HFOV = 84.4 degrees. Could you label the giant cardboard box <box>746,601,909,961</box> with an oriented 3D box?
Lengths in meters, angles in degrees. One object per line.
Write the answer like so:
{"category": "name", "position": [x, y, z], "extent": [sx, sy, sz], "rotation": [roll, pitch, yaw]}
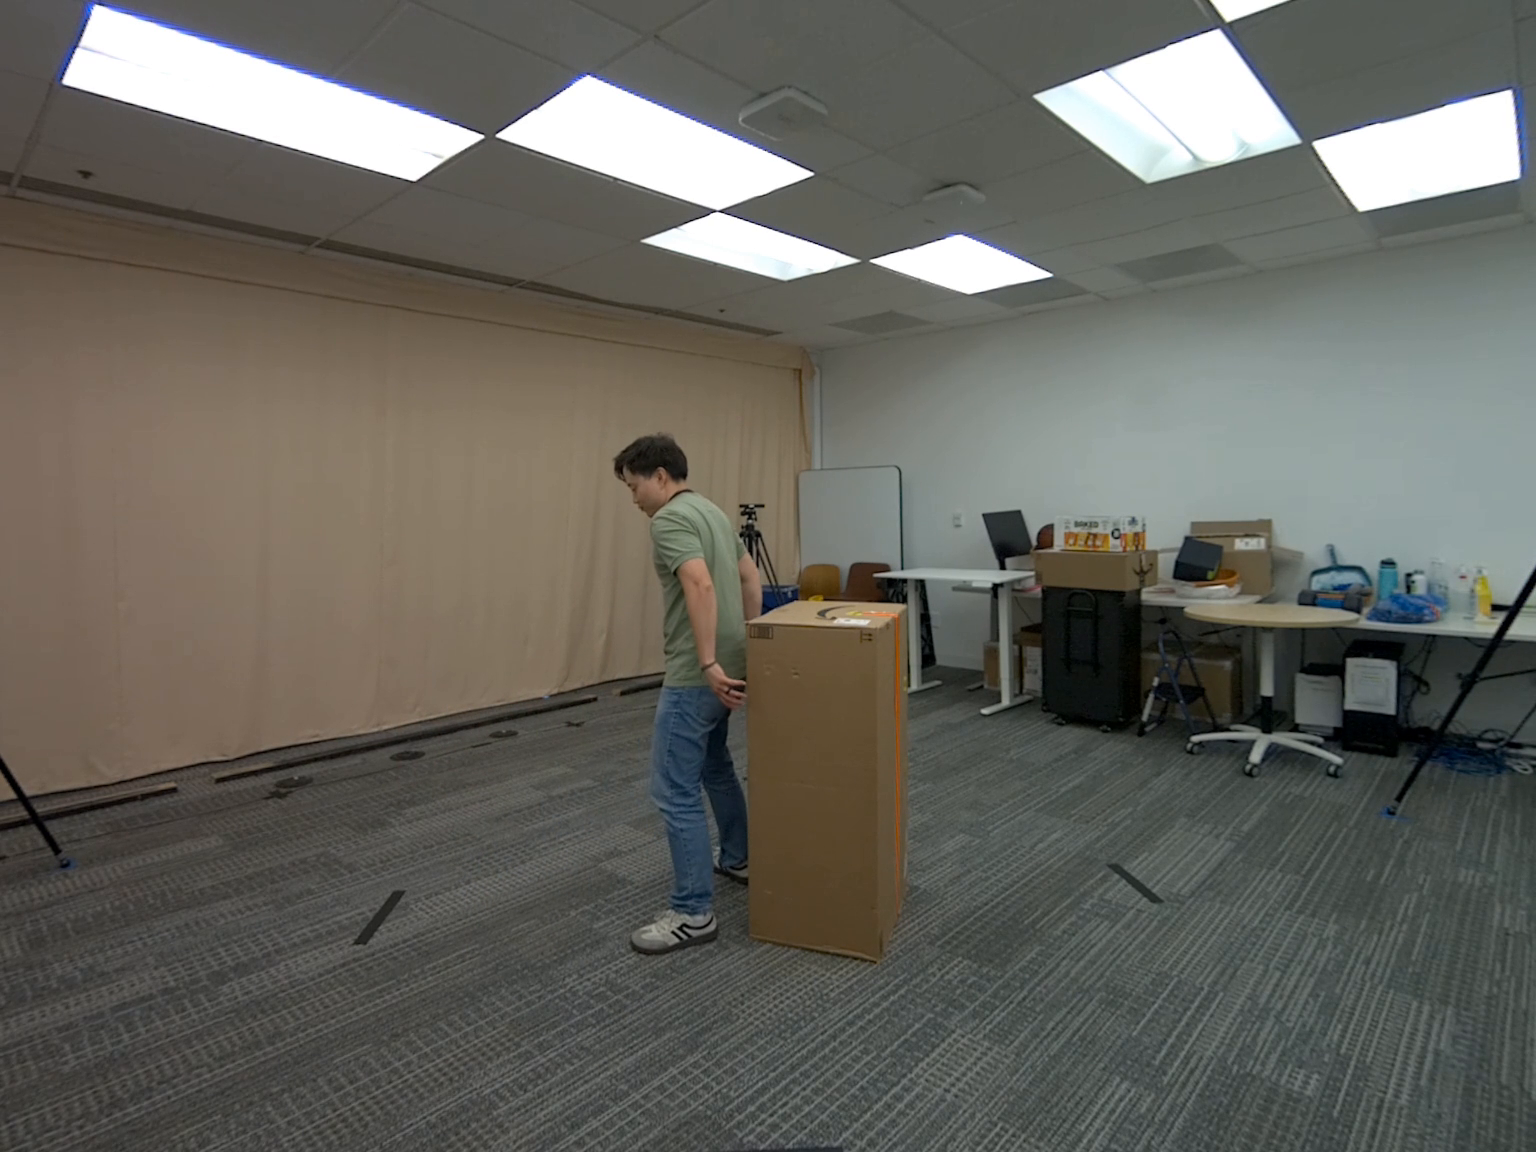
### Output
{"category": "giant cardboard box", "position": [0.228, 0.632, 2.856], "extent": [0.436, 1.023, 0.566], "rotation": [1, 4, 20]}
